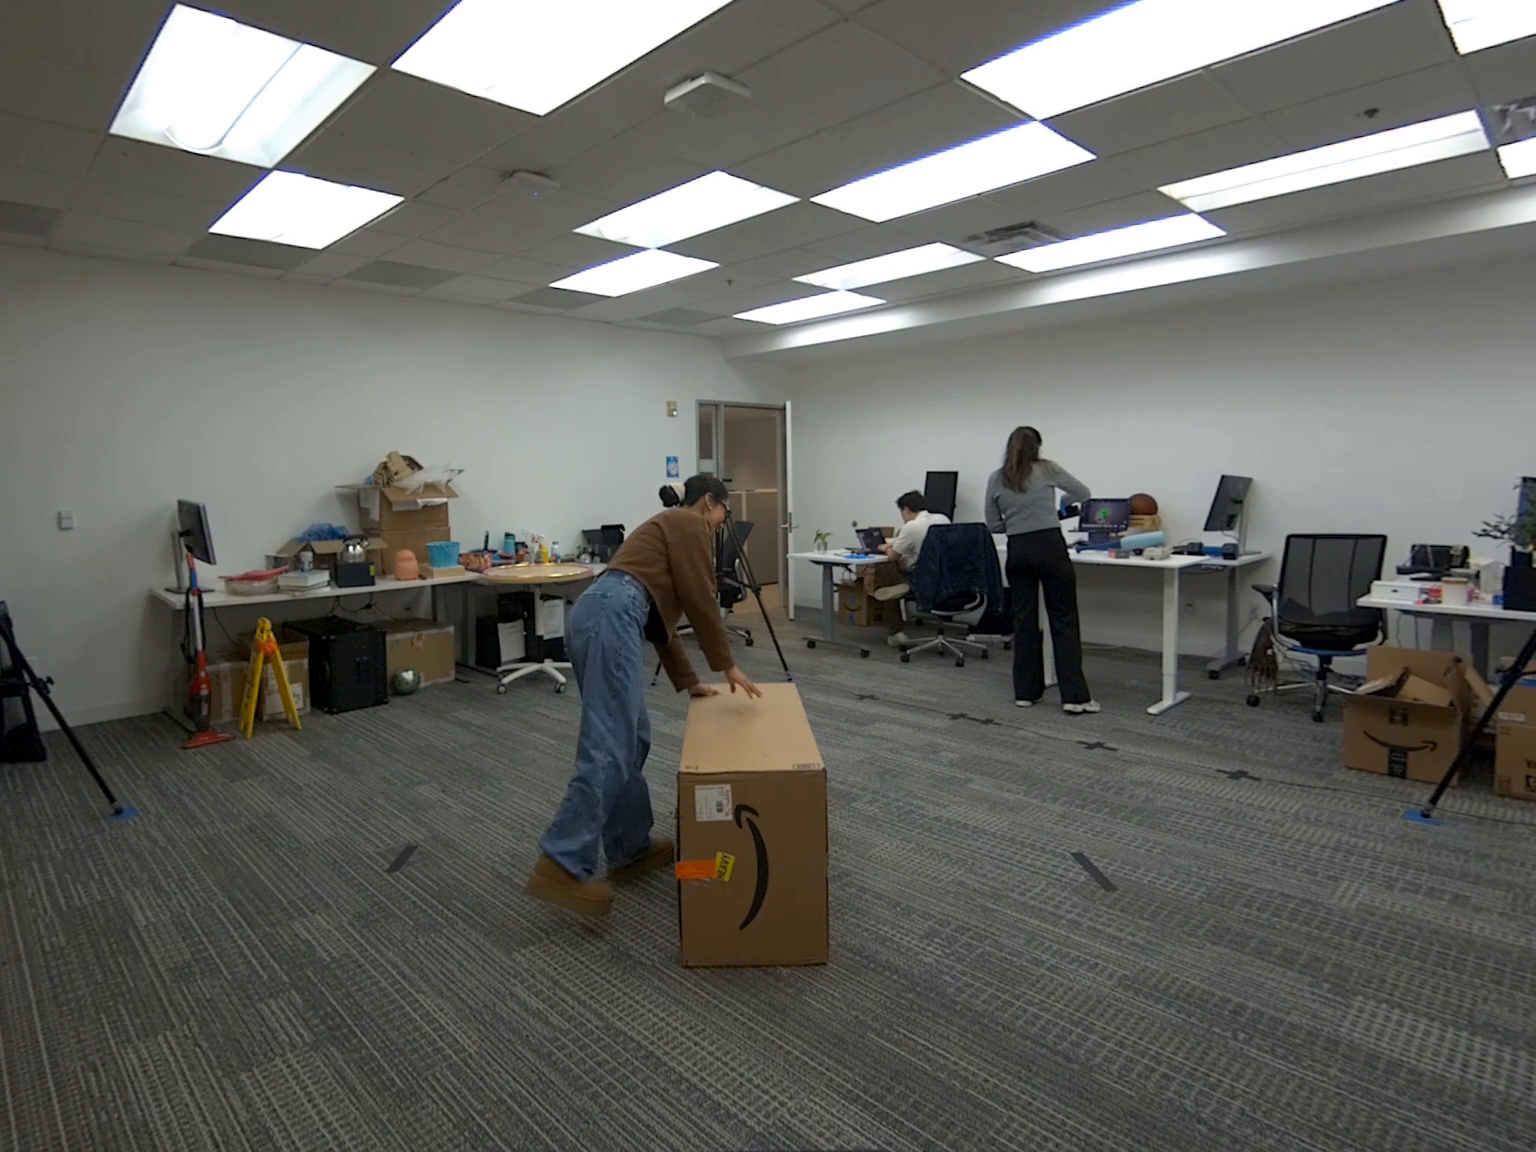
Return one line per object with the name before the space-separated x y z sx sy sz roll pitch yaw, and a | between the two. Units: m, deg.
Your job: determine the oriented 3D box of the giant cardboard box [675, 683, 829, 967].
giant cardboard box | -0.066 0.776 2.939 0.446 0.582 1.032 0 5 -2
